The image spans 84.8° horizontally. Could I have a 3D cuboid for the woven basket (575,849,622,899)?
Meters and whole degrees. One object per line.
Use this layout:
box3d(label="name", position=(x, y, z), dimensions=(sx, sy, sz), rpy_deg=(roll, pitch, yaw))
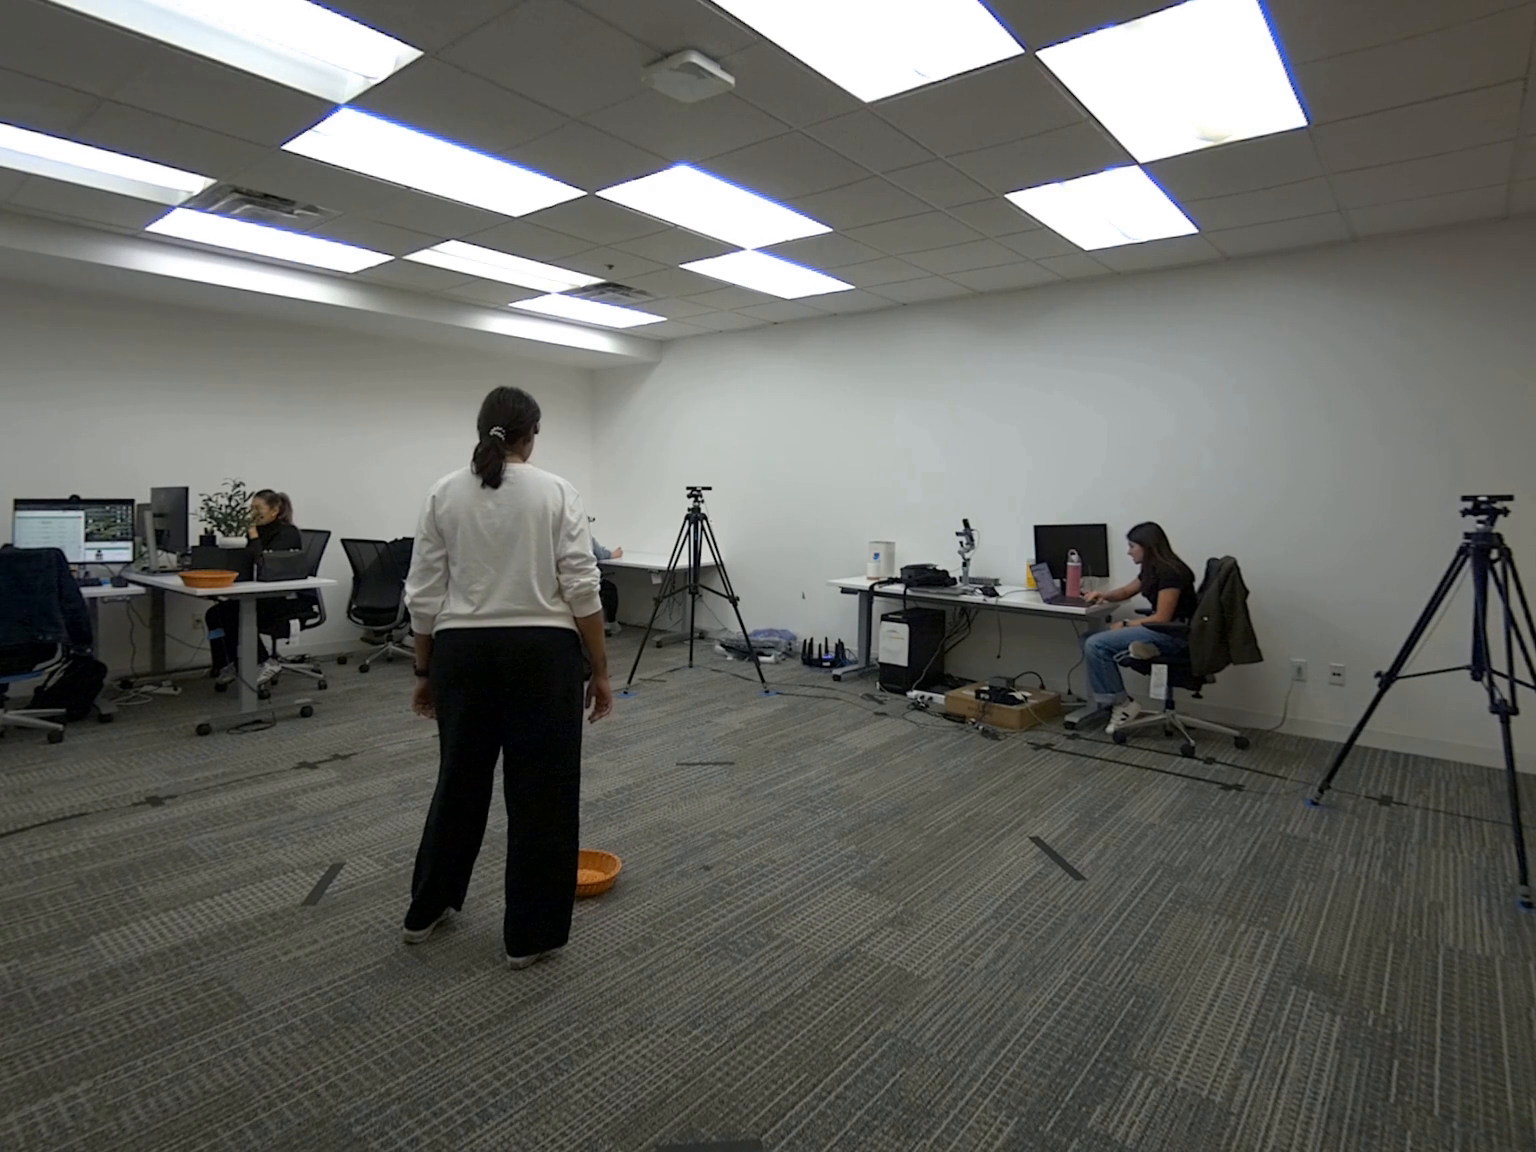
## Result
box3d(label="woven basket", position=(-0.684, 1.034, 2.951), dimensions=(0.351, 0.073, 0.253), rpy_deg=(2, 7, 1))
